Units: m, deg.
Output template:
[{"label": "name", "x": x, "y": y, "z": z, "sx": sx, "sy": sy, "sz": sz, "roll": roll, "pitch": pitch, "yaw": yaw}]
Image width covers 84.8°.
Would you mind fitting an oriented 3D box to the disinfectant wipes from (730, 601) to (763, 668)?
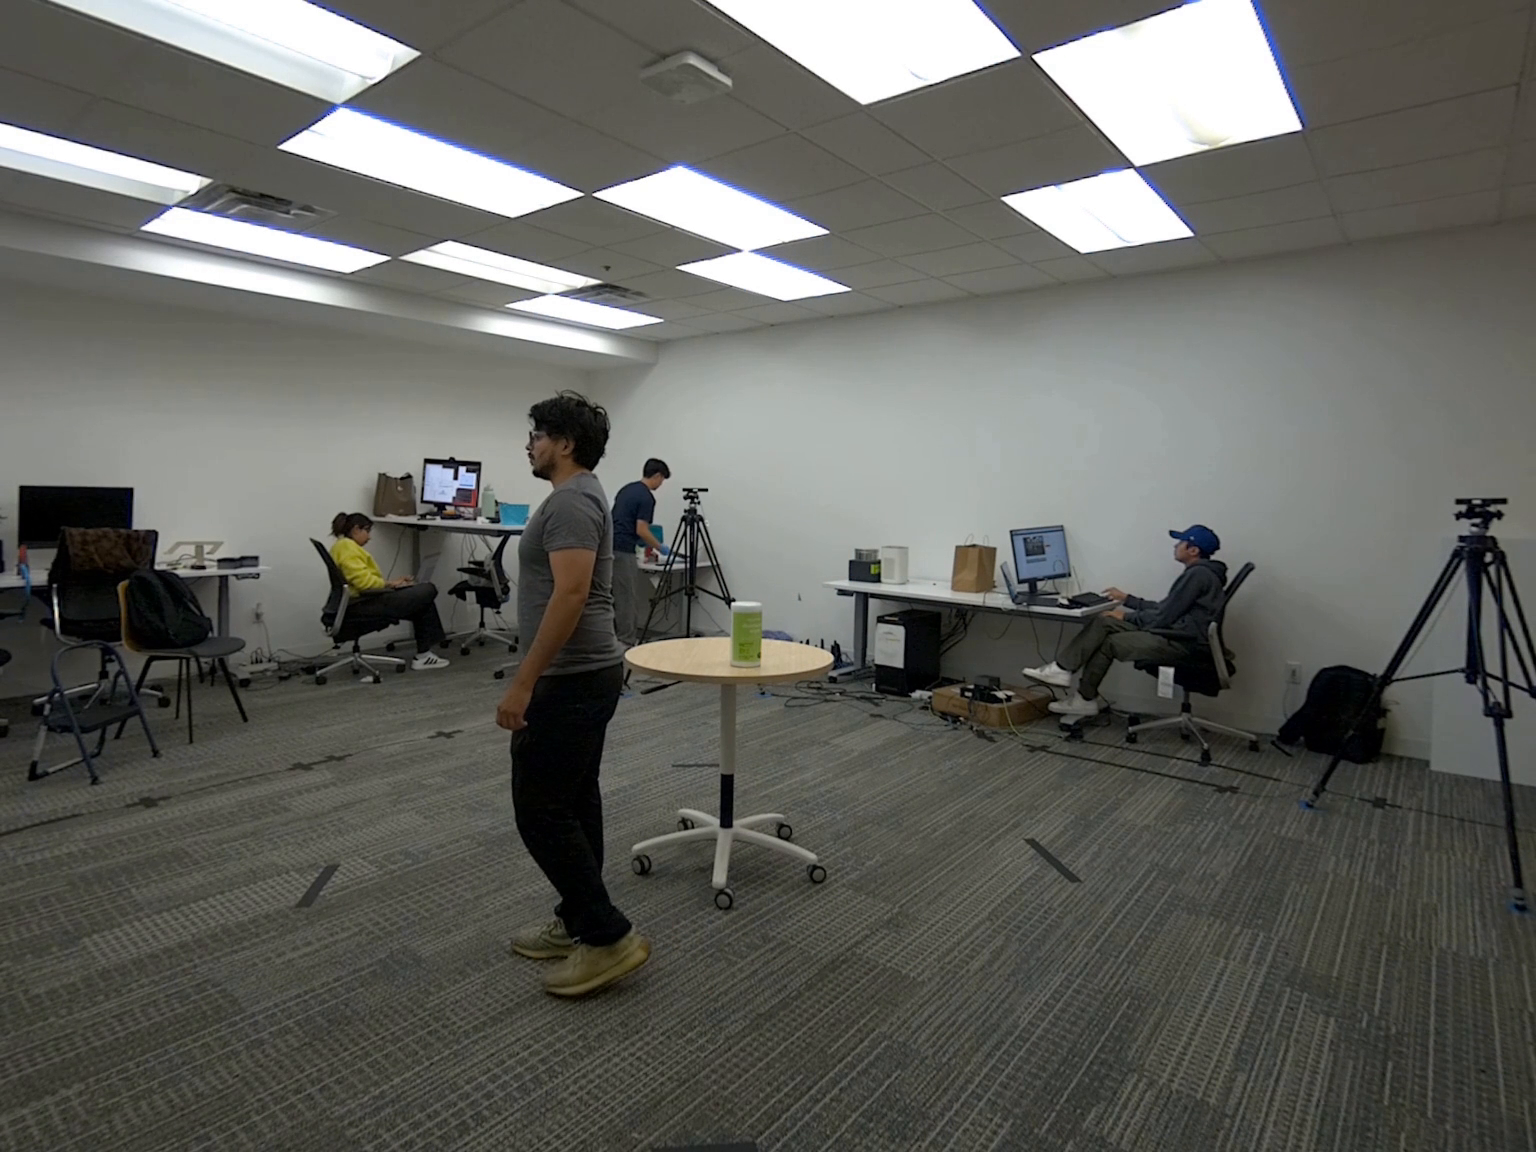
[{"label": "disinfectant wipes", "x": -0.086, "y": 0.200, "z": 2.937, "sx": 0.118, "sy": 0.217, "sz": 0.118, "roll": 1, "pitch": 4, "yaw": -2}]
